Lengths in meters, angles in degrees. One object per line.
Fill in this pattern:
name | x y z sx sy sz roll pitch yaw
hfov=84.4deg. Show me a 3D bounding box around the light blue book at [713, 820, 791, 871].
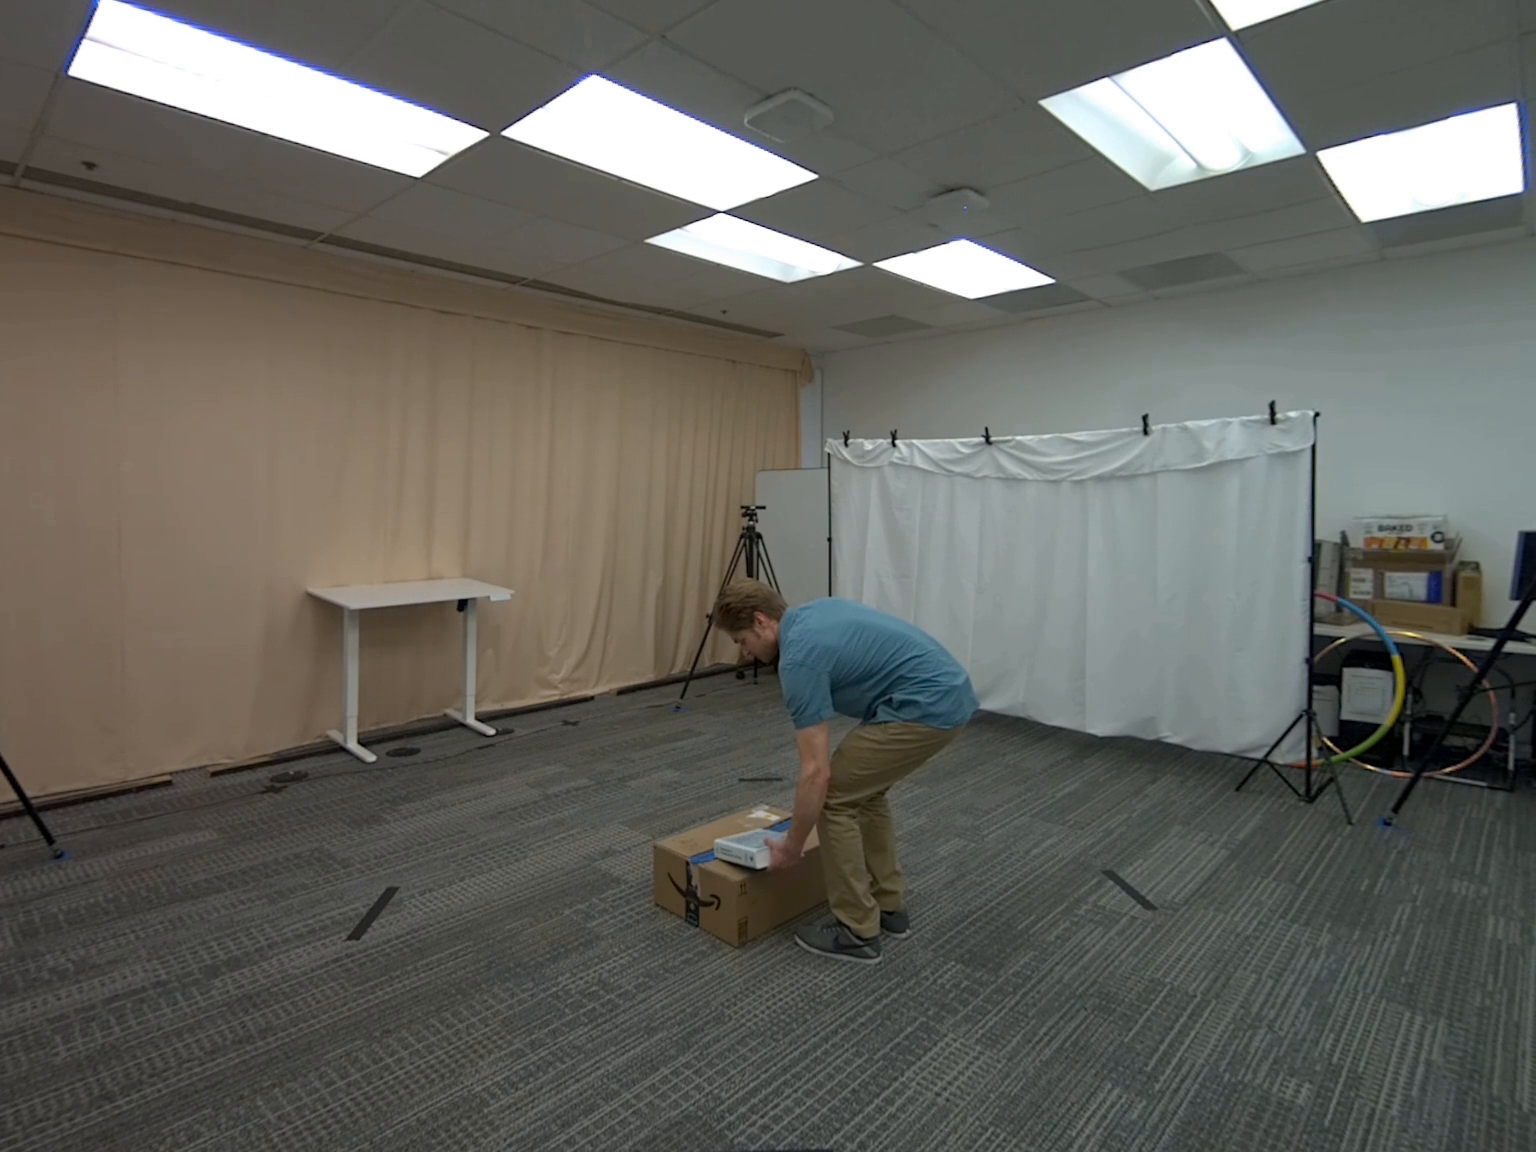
light blue book | -0.035 0.897 2.776 0.186 0.059 0.267 -5 -5 -30
